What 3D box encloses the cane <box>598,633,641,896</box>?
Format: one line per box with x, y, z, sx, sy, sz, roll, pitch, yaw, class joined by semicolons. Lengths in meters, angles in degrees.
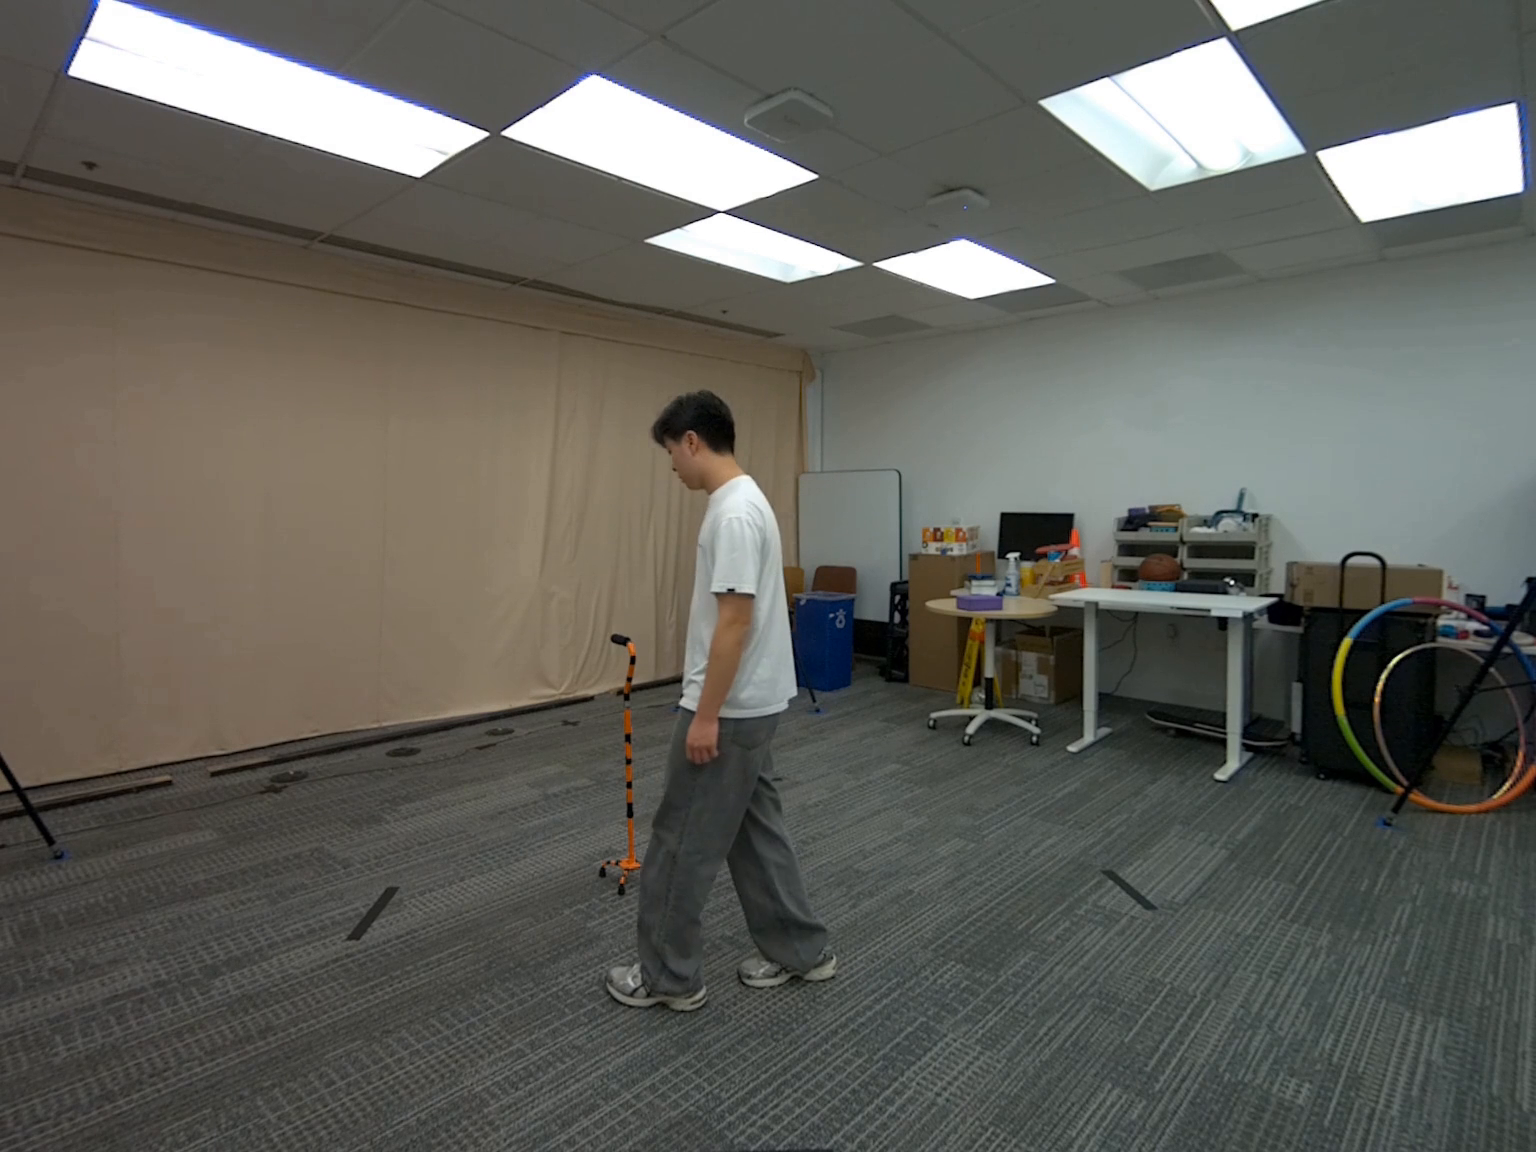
-0.526;0.683;3.113;0.147;0.906;0.213;-2;3;-34;cane
